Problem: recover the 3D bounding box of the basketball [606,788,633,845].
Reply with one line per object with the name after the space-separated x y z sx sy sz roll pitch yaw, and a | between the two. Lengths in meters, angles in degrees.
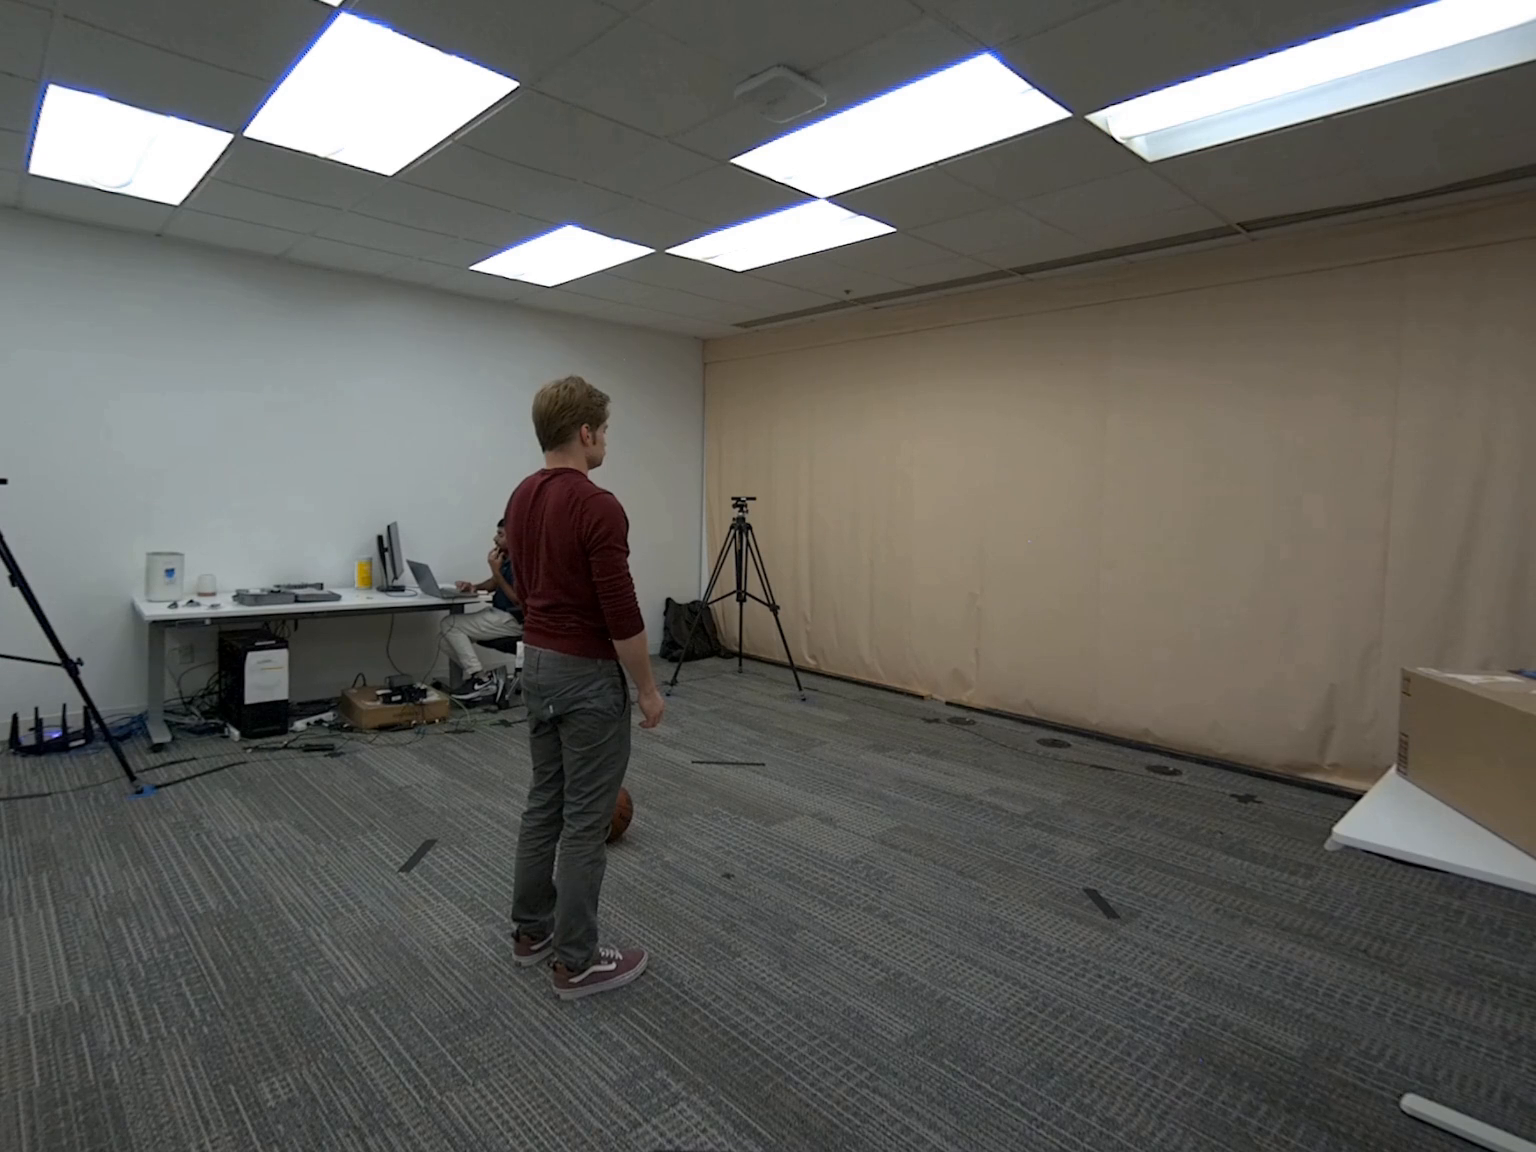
-0.674 0.949 3.404 0.236 0.235 0.237 1 4 -1 | basketball
